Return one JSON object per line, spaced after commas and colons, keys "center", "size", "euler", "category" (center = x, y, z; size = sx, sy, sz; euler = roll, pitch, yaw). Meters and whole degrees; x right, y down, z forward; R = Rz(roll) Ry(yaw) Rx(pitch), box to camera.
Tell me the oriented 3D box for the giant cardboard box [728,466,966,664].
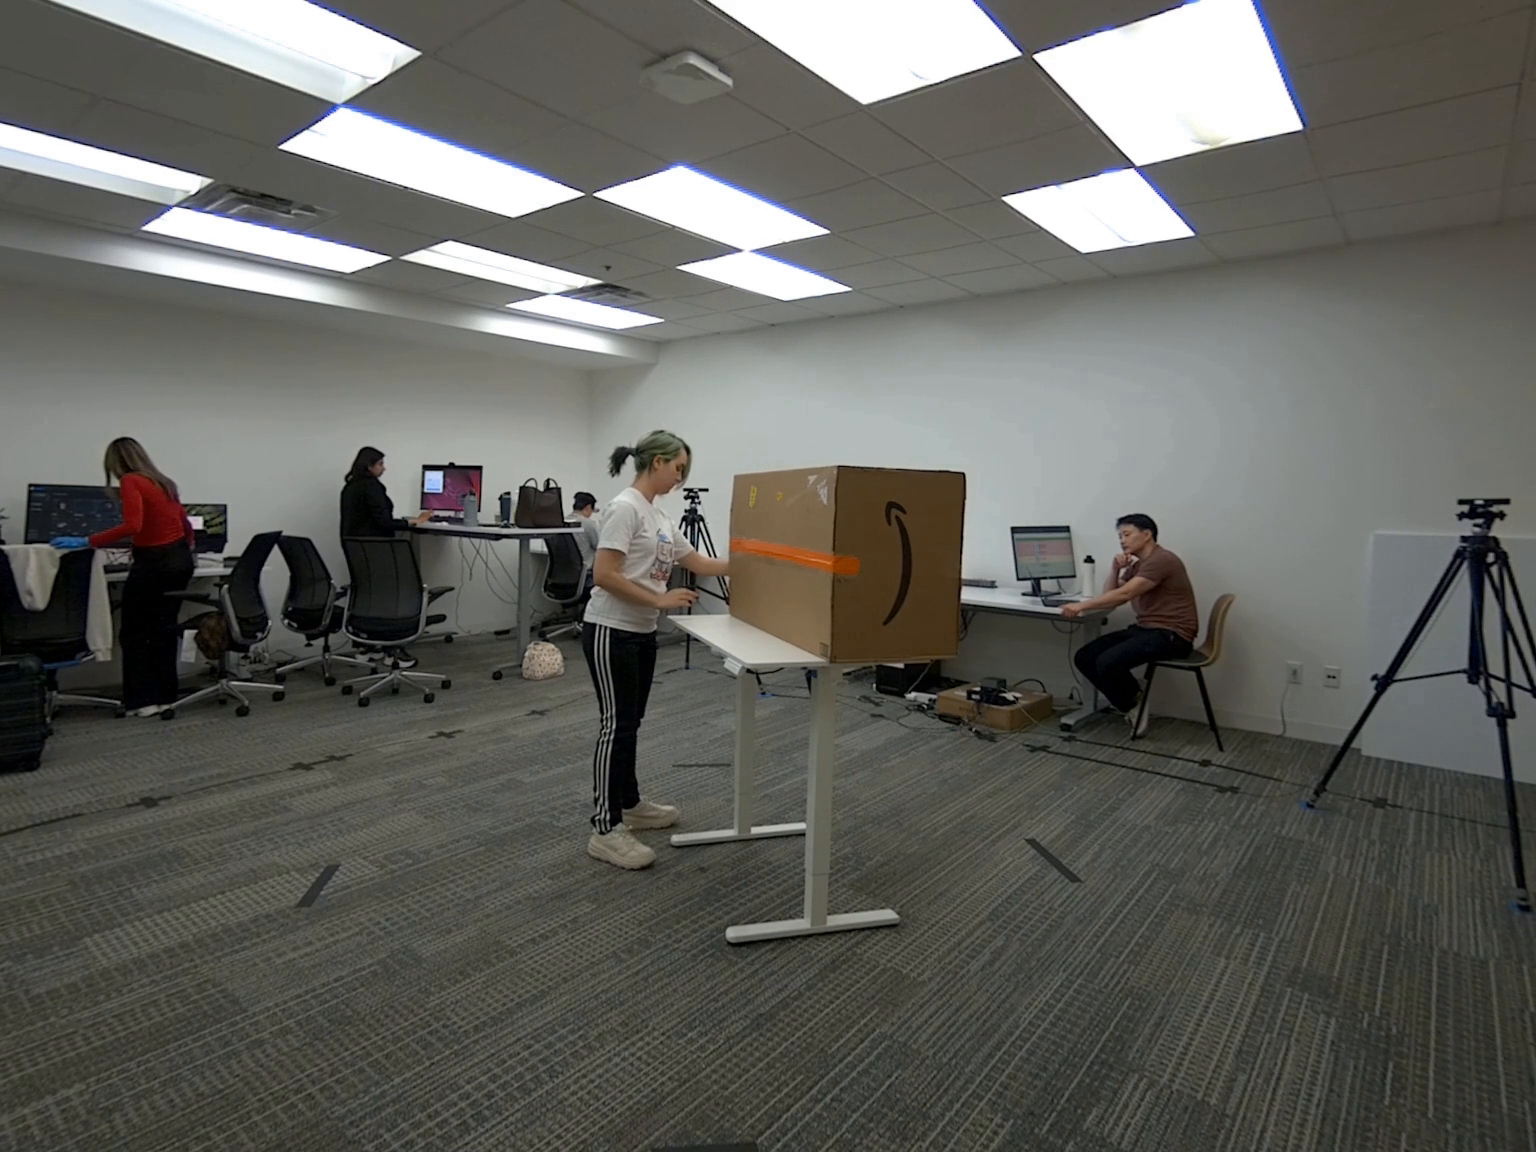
{"center": [0.210, -0.086, 3.015], "size": [0.439, 0.582, 1.049], "euler": [0, 4, -19], "category": "giant cardboard box"}
